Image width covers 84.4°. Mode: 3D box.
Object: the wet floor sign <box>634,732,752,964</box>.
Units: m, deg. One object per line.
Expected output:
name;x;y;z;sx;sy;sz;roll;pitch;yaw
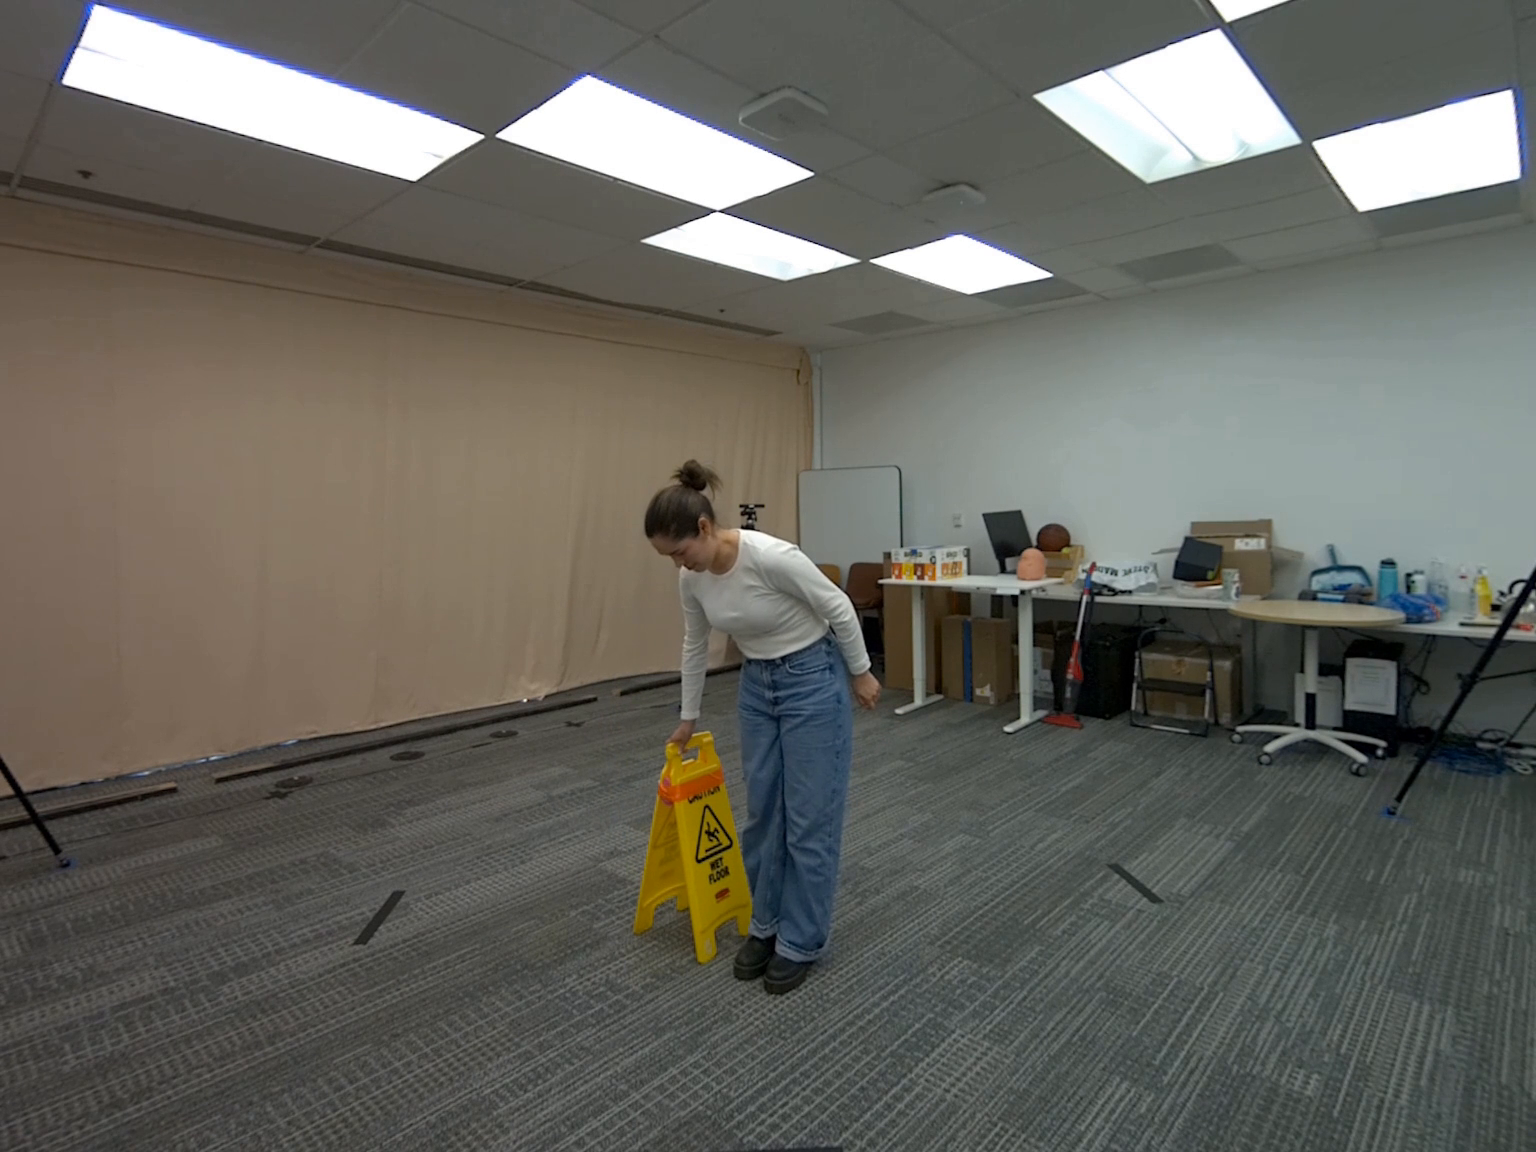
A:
wet floor sign;-0.247;0.844;2.740;0.299;0.645;0.274;1;3;40
